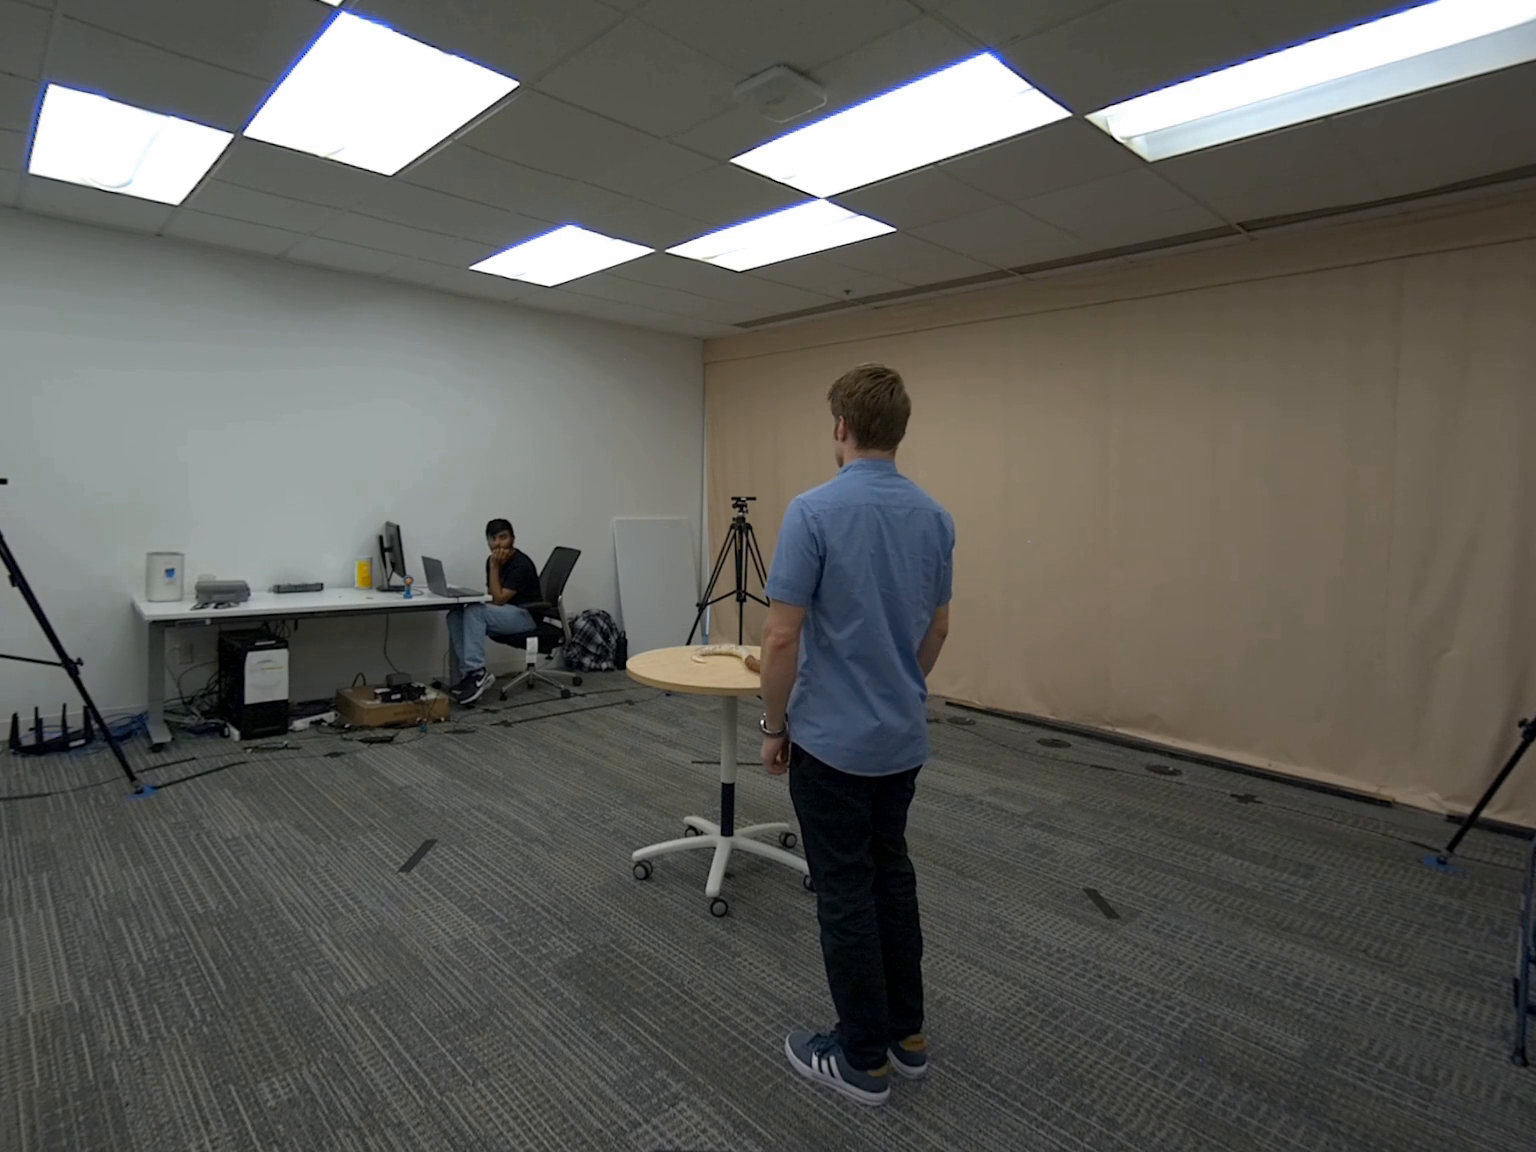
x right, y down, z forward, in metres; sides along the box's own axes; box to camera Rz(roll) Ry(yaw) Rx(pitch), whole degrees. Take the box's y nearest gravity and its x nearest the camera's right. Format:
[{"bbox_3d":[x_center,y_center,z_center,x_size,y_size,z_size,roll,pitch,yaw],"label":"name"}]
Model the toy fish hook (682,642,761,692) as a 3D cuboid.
[{"bbox_3d":[-0.129,0.319,3.061,0.221,0.048,0.516,-8,8,-21],"label":"toy fish hook"}]
